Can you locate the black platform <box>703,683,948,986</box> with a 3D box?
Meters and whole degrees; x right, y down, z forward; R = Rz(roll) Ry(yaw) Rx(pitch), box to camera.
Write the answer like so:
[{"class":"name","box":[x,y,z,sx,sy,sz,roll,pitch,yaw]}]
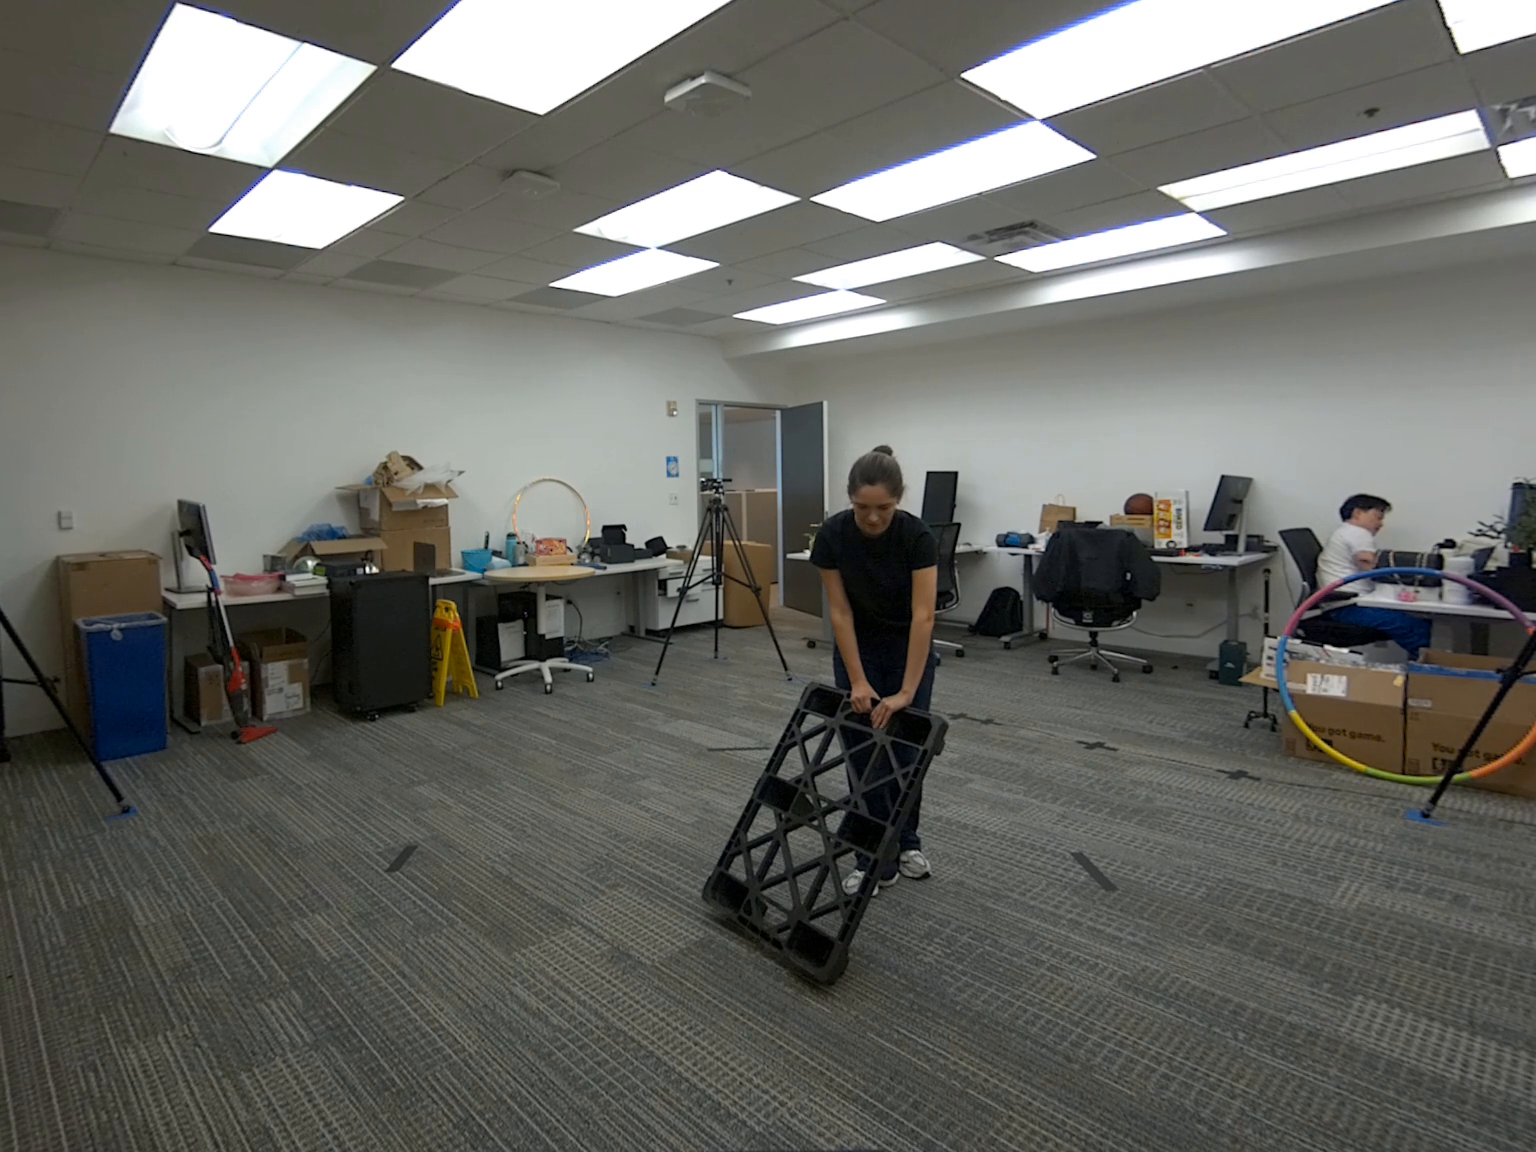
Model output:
[{"class":"black platform","box":[0.189,0.757,2.677,0.138,0.810,0.623,39,-19,-33]}]
